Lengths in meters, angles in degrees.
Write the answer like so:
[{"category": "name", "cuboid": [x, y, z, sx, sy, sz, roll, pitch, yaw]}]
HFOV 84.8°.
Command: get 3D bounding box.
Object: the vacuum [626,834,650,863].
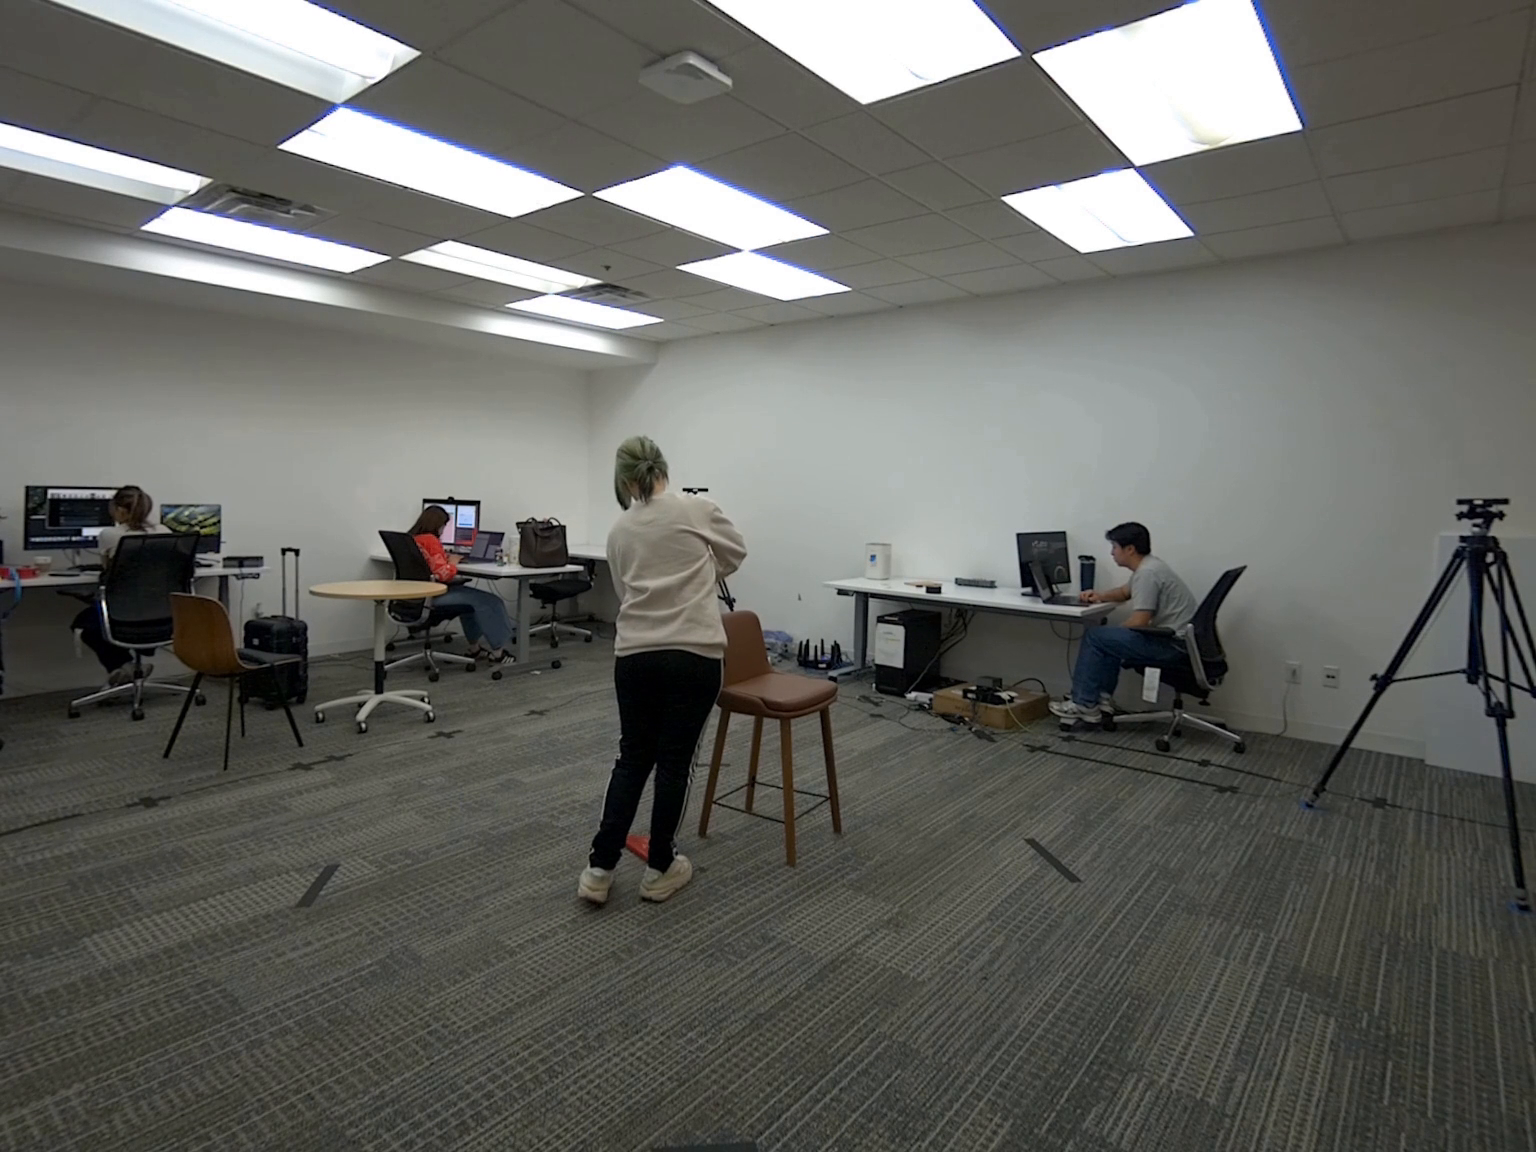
[{"category": "vacuum", "cuboid": [-0.361, 0.527, 3.310, 0.261, 1.054, 0.138, 5, -7, 44]}]
